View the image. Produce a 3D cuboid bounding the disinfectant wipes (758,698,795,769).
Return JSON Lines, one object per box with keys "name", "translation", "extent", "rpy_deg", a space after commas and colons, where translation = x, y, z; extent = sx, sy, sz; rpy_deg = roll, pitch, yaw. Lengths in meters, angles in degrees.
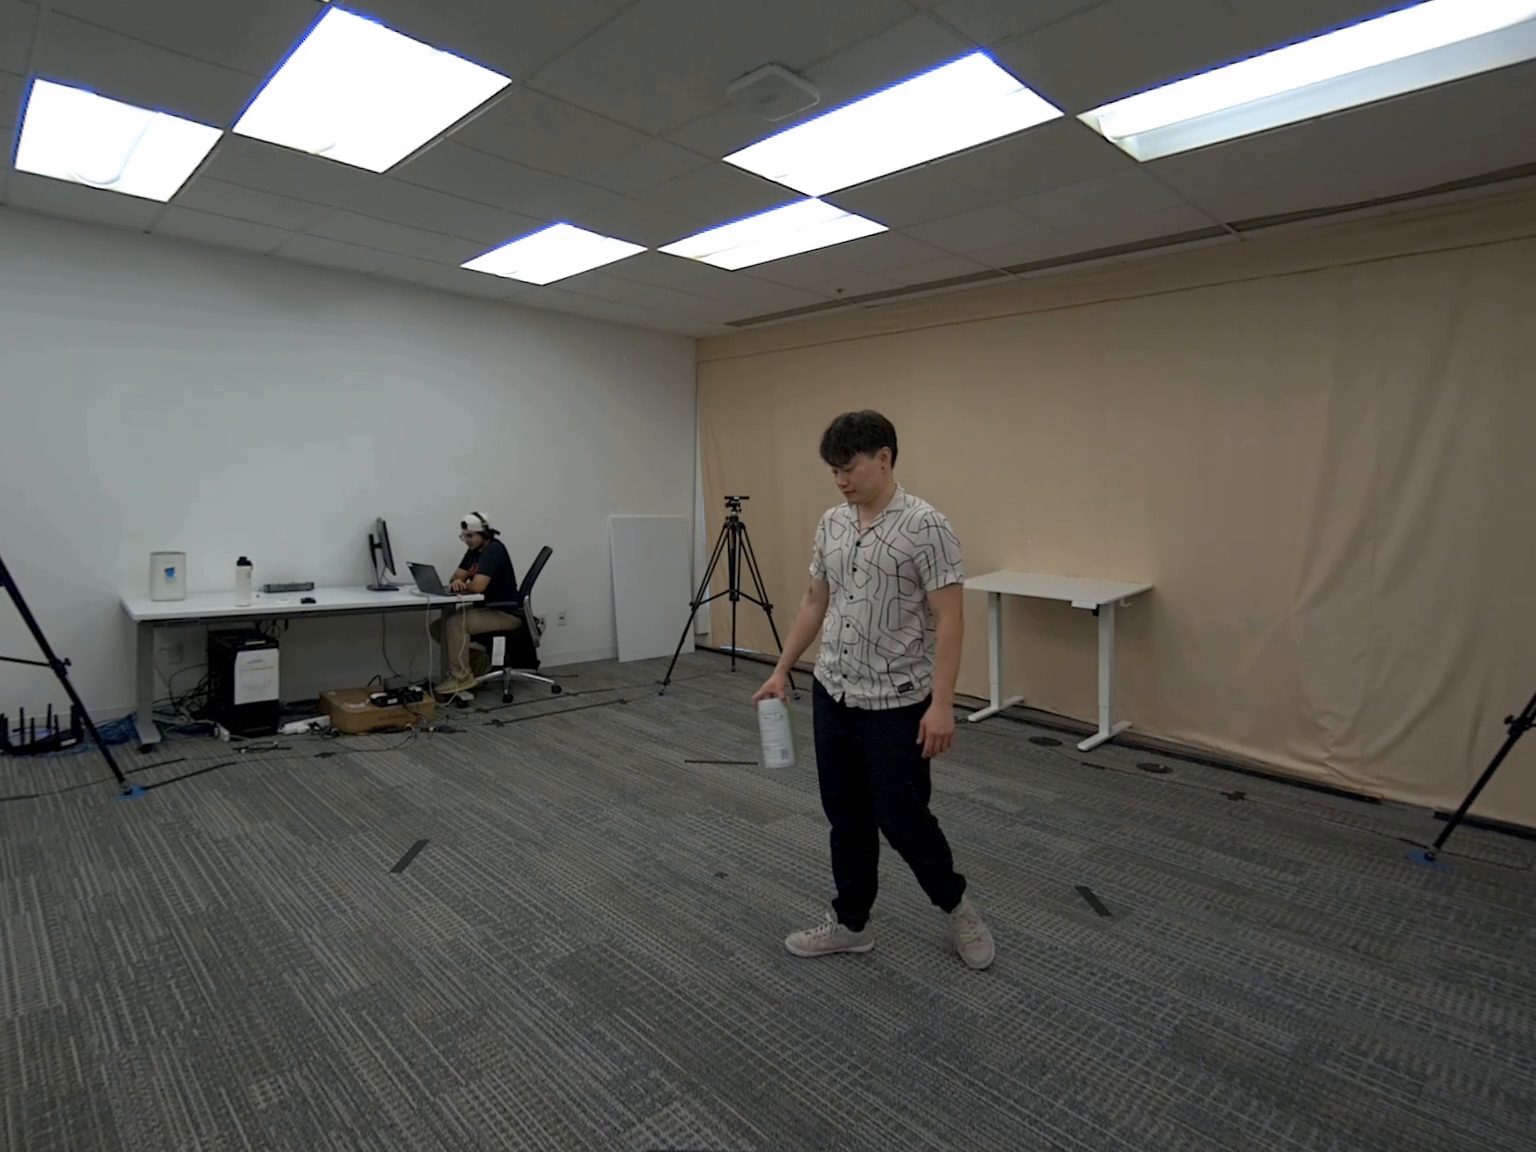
{"name": "disinfectant wipes", "translation": [0.043, 0.500, 2.695], "extent": [0.117, 0.219, 0.117], "rpy_deg": [-6, -7, -2]}
